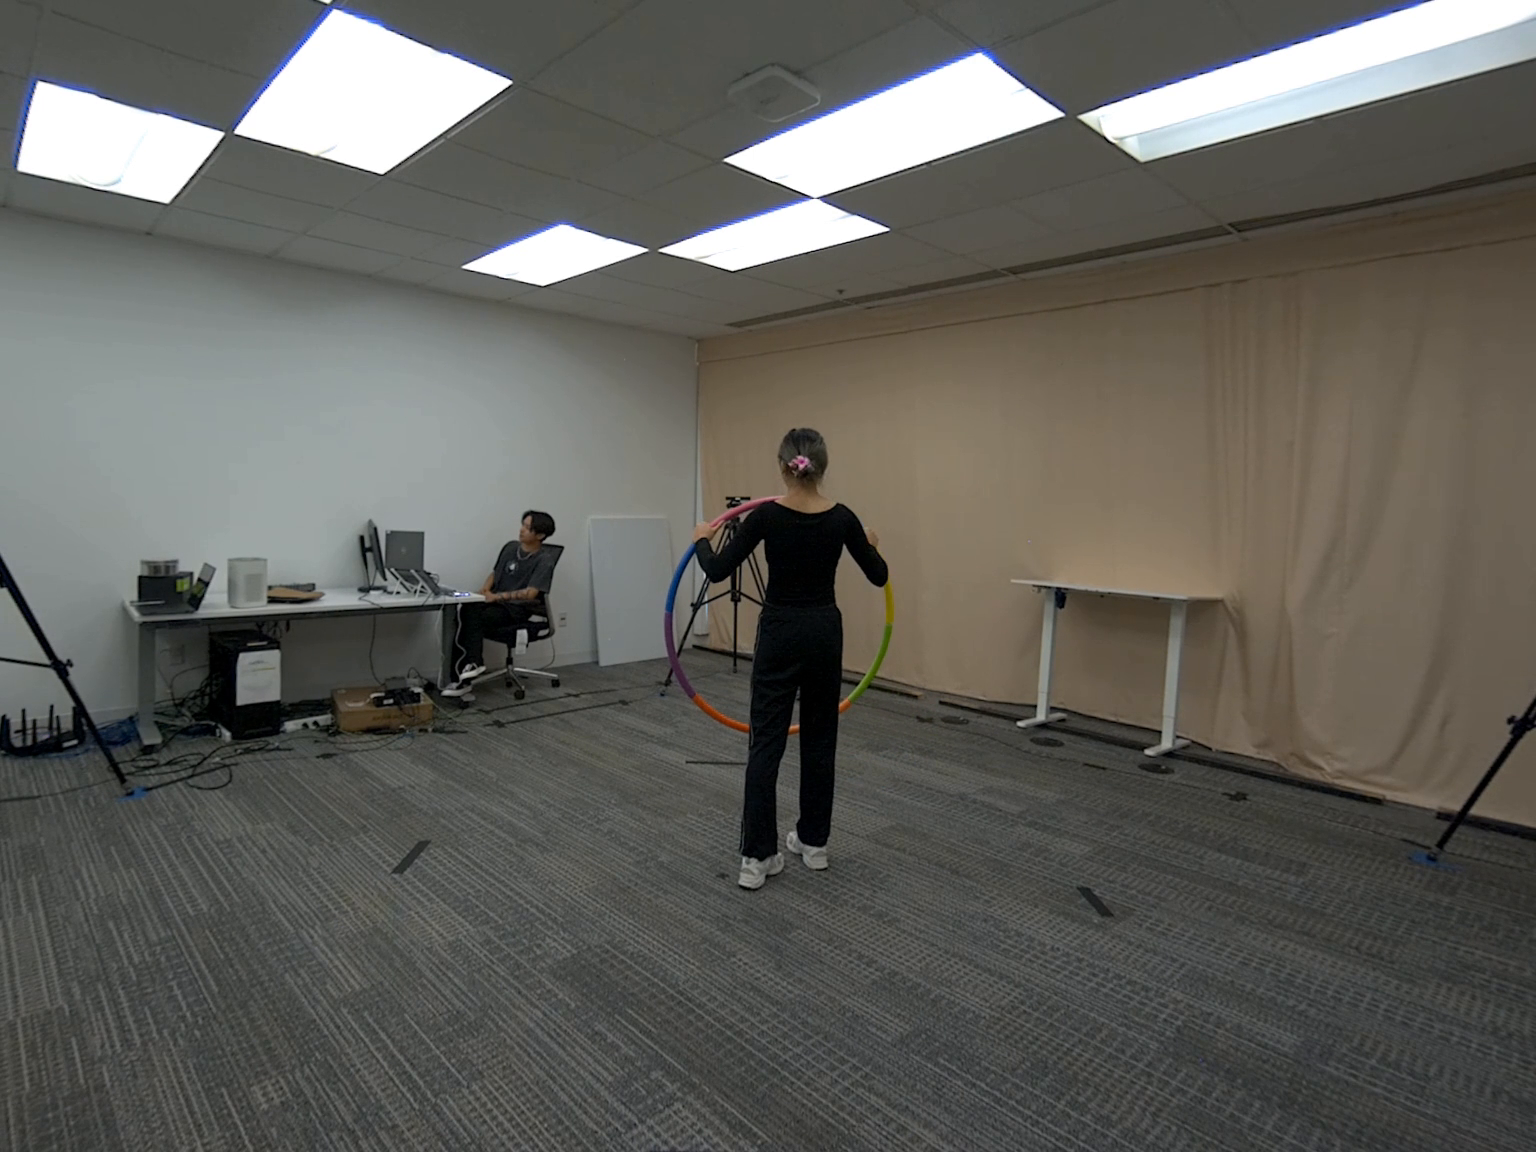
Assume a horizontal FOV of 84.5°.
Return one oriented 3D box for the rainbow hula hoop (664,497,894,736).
[{"bbox_3d":[0.053,0.175,3.438,0.969,0.973,0.036,0,8,-12],"label":"rainbow hula hoop"}]
